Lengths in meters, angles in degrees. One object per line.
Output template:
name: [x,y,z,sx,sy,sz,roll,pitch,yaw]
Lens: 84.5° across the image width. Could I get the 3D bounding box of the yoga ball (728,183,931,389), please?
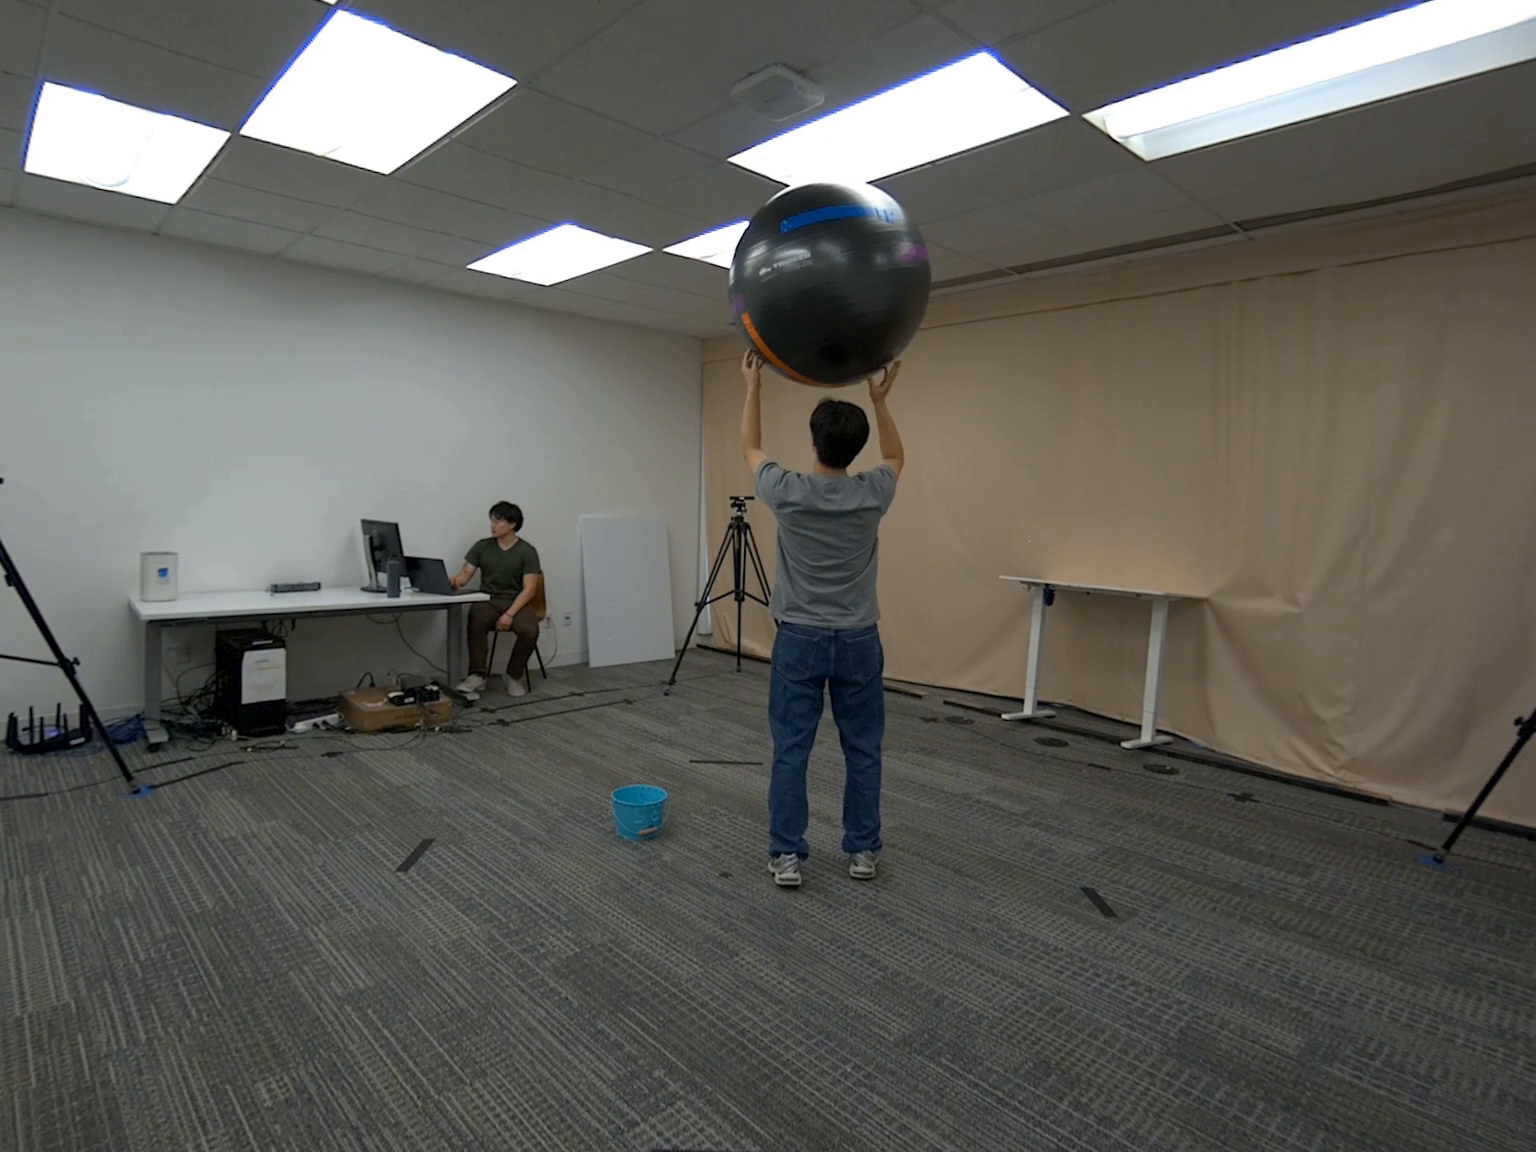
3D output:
yoga ball: [0.230,-1.098,3.197,0.757,0.756,0.761,1,4,-1]
